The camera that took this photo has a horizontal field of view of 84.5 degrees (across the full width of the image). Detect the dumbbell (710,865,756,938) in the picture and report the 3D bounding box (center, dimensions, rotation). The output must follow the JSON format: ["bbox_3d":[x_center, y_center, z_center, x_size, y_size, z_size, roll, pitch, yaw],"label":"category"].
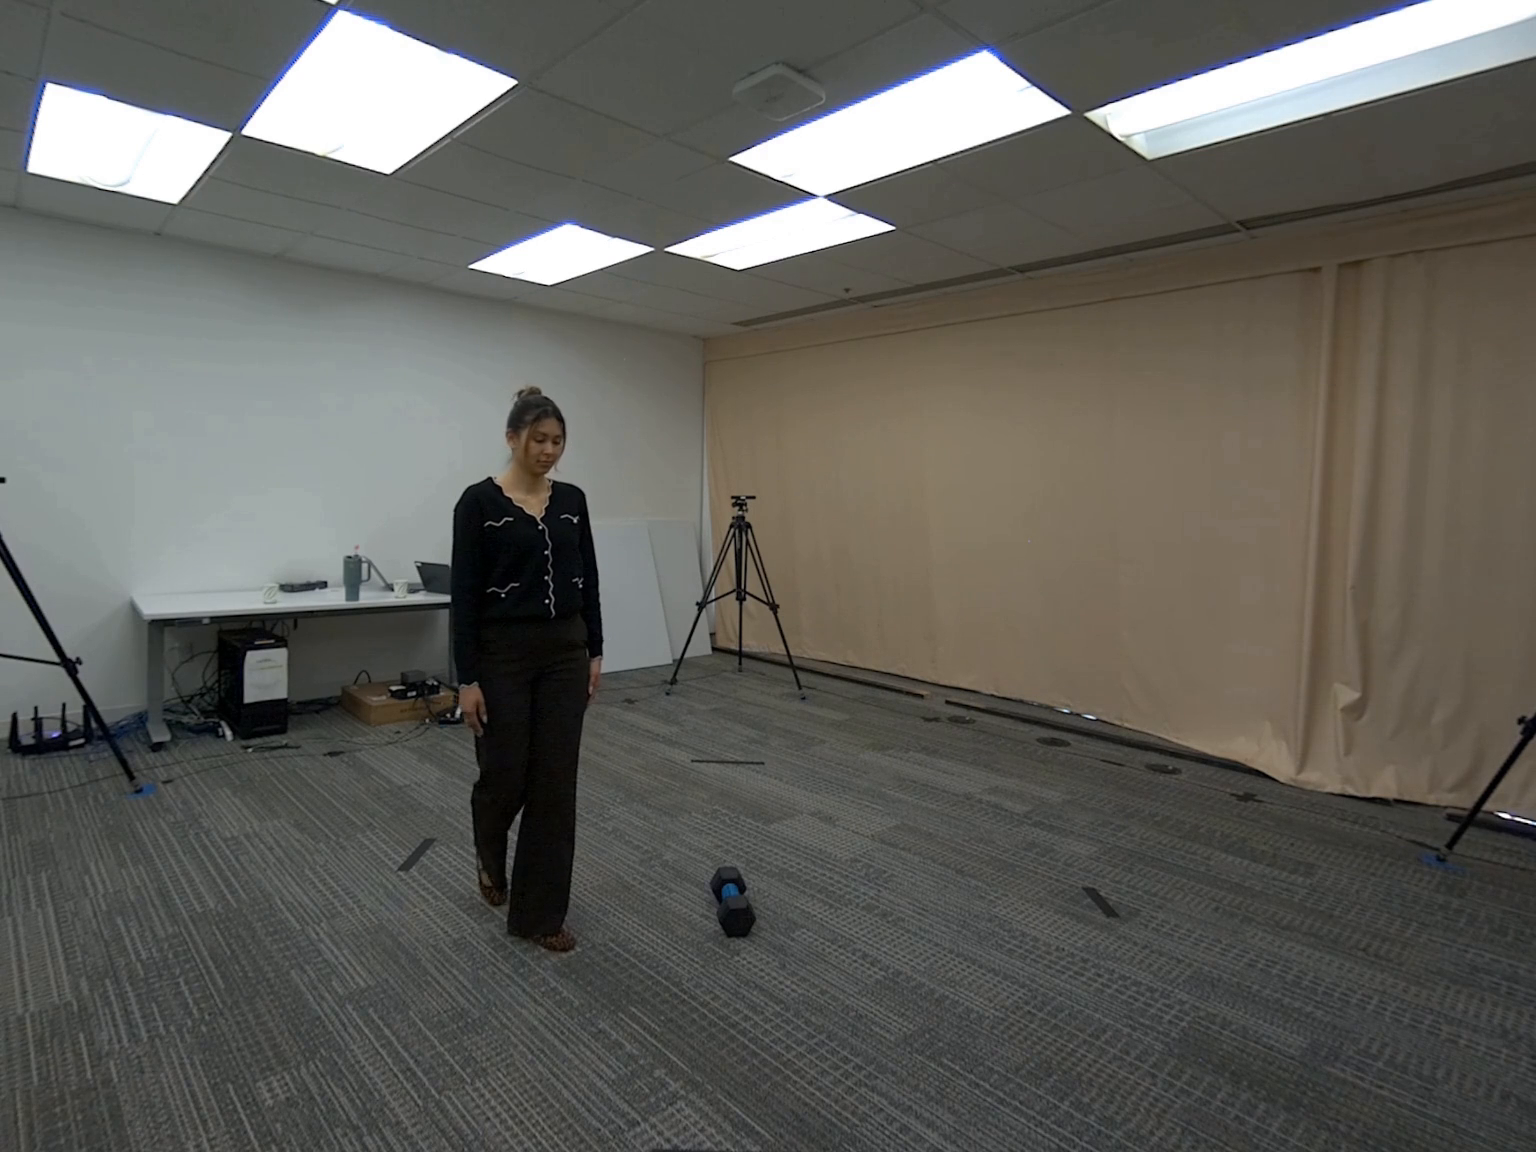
[{"bbox_3d":[-0.123,1.081,2.791,0.108,0.123,0.296,32,-1,-10],"label":"dumbbell"}]
